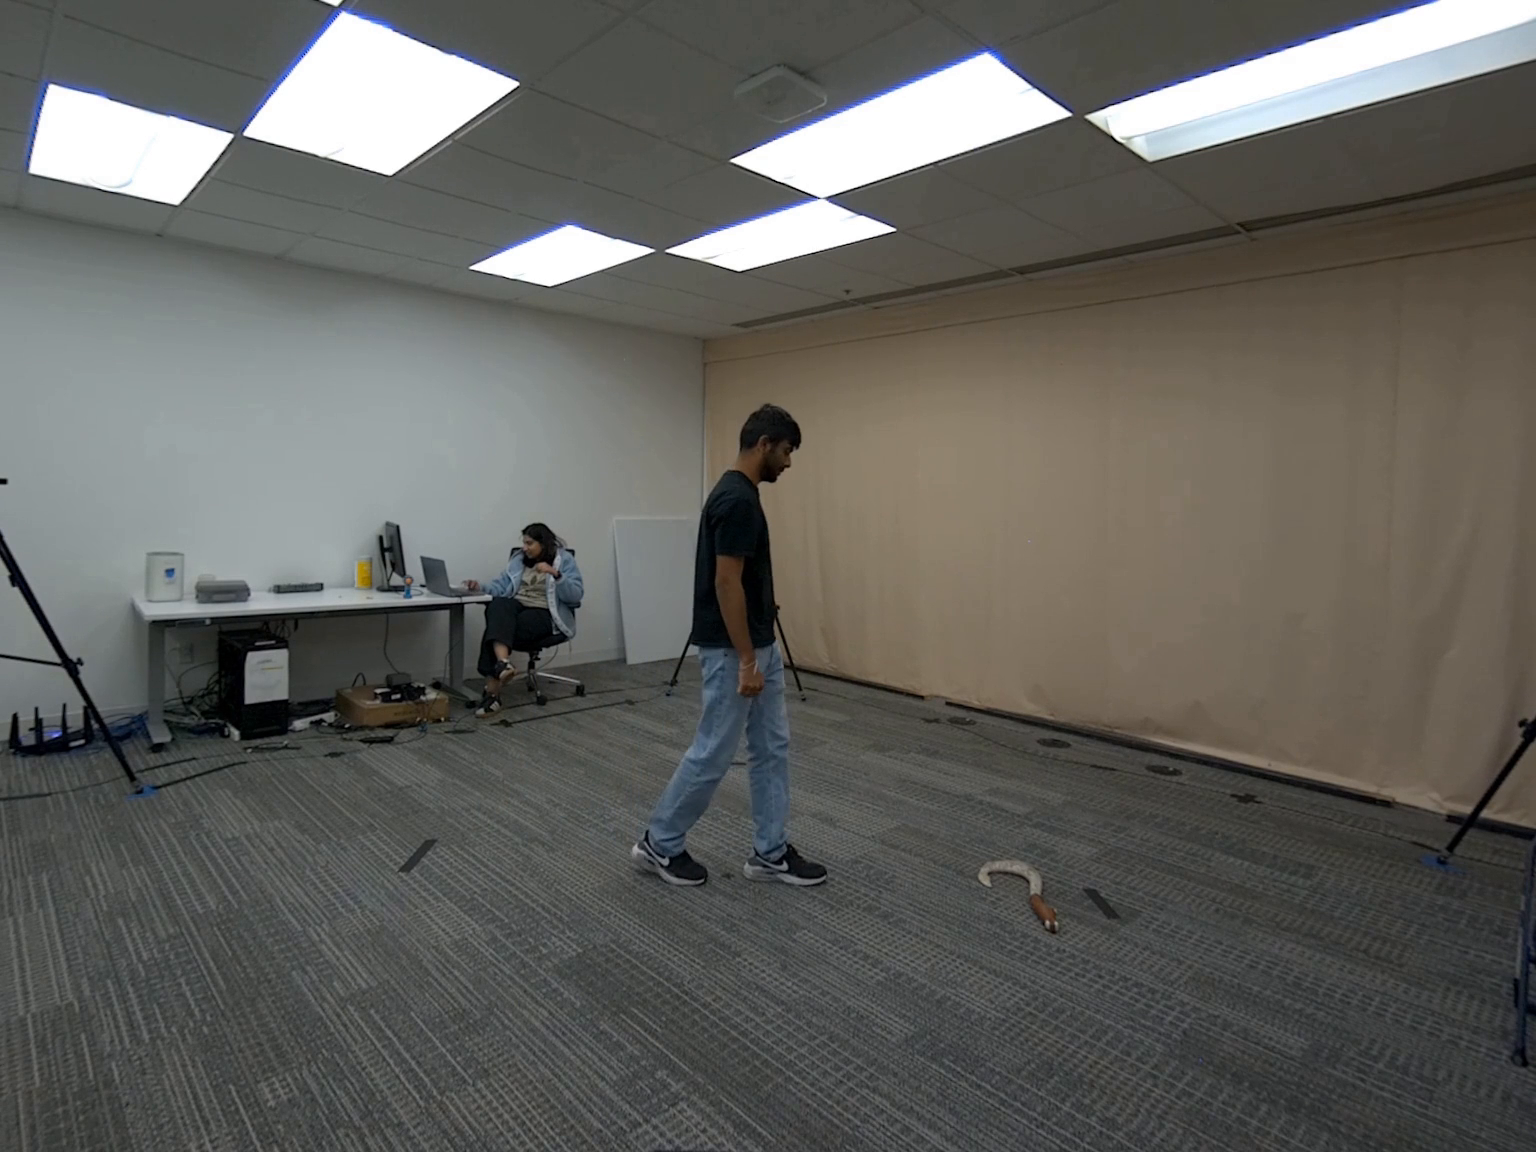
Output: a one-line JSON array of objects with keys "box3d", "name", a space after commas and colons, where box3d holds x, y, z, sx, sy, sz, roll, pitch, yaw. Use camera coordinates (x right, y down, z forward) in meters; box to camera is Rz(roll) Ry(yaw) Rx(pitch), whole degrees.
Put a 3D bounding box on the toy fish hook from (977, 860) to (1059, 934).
[{"box3d": [0.877, 1.126, 2.993, 0.225, 0.048, 0.506, -5, 4, 3], "name": "toy fish hook"}]
